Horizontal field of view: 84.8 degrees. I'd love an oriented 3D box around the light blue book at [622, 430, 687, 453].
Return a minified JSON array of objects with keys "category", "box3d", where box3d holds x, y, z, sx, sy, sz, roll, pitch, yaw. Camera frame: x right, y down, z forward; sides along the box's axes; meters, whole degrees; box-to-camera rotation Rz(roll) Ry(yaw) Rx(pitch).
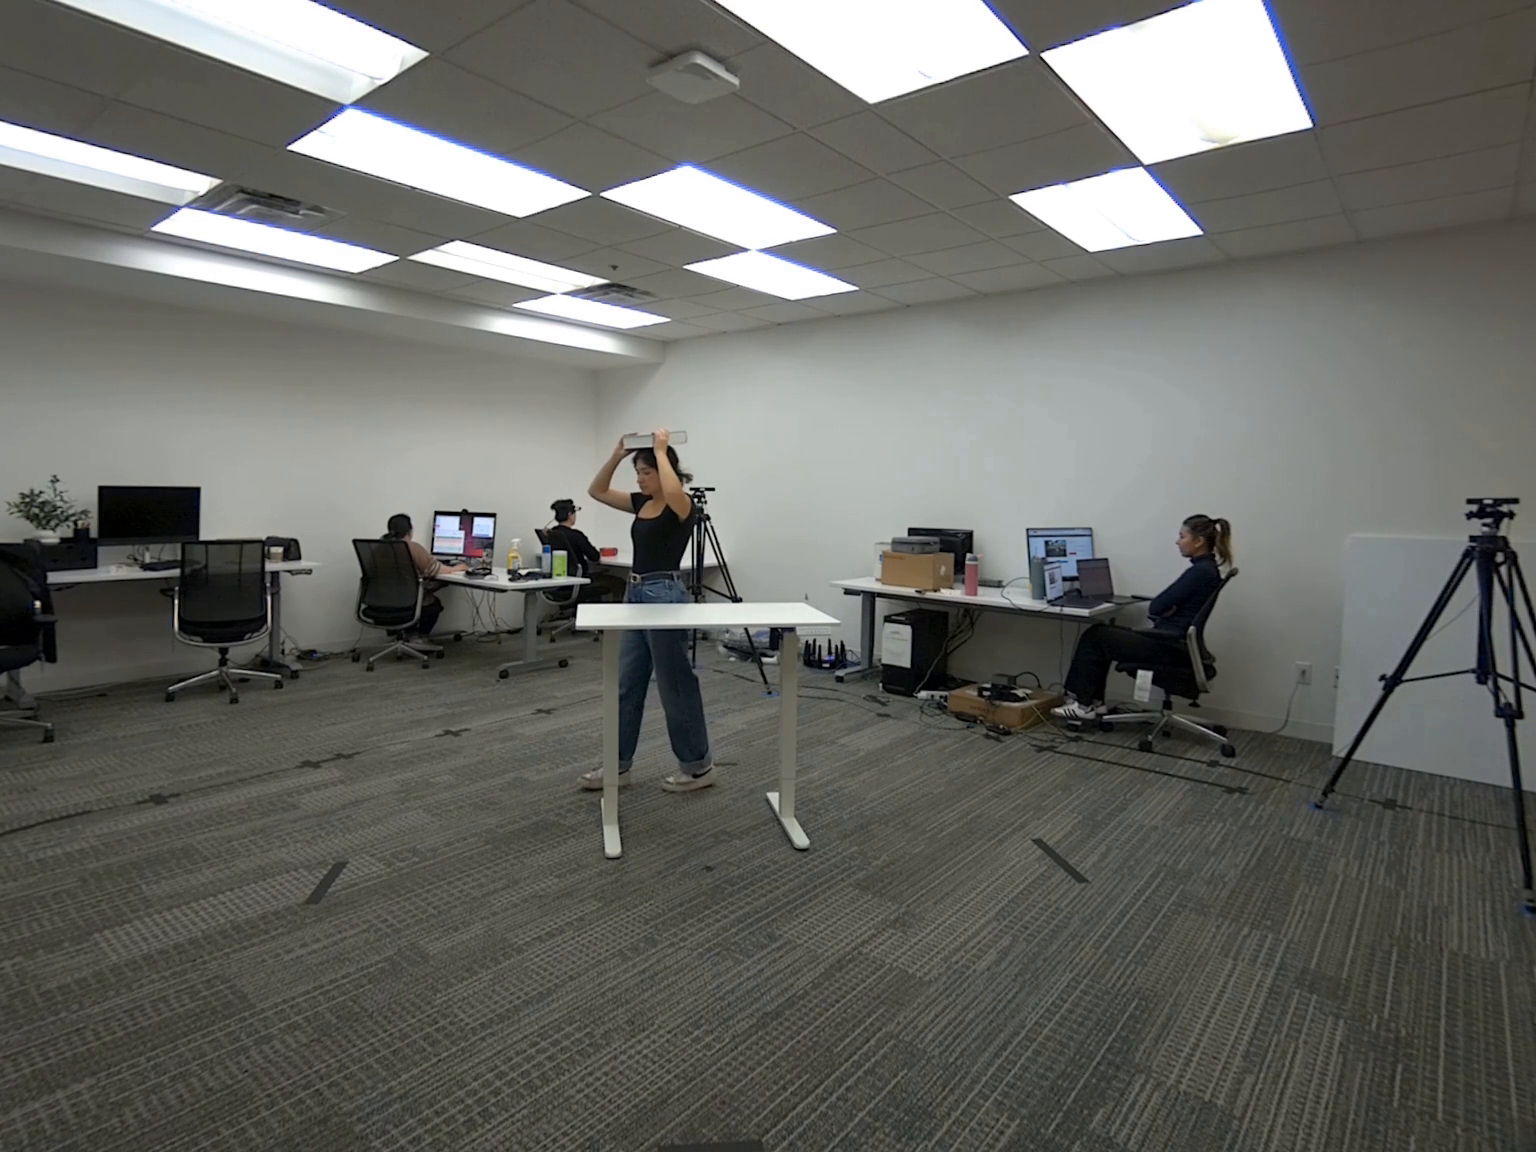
[{"category":"light blue book","box3d":[-0.529,-0.626,3.874,0.186,0.058,0.270,-12,12,-40]}]
